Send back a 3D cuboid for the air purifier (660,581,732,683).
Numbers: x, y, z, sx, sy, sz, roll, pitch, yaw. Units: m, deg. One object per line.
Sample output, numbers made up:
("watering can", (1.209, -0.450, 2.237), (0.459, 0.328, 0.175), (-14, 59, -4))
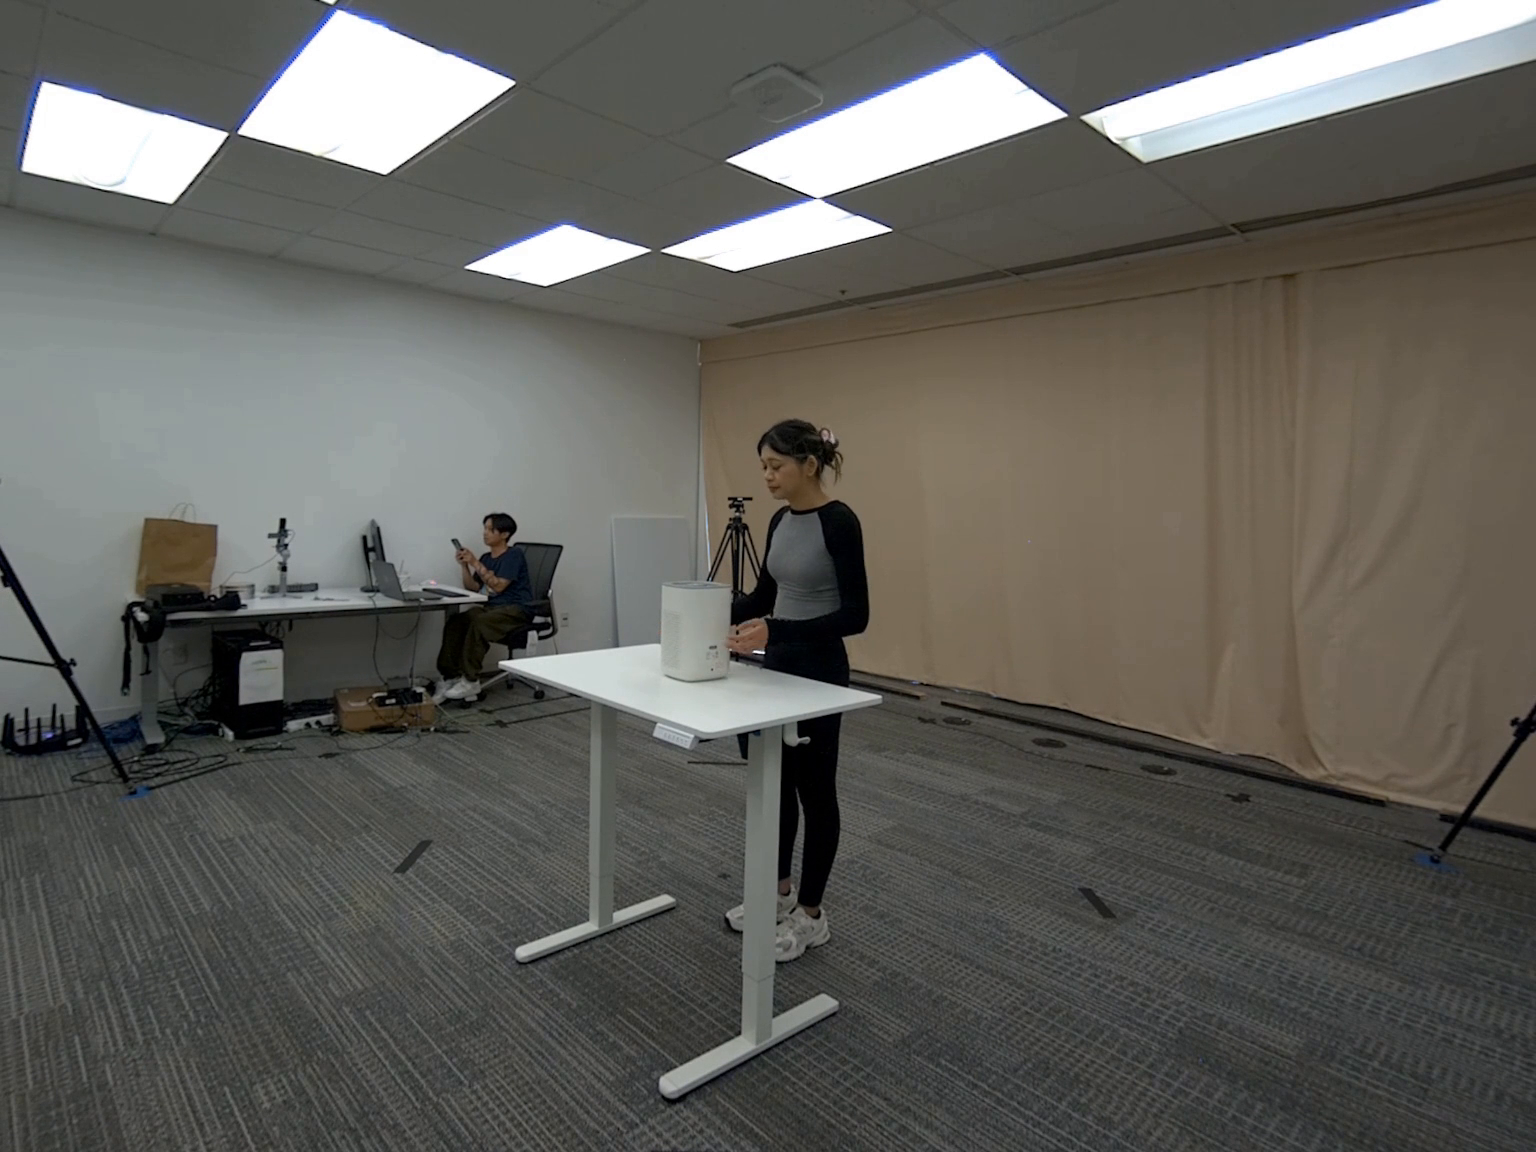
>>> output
("air purifier", (-0.206, 0.155, 2.404), (0.167, 0.265, 0.176), (0, 4, -40))
